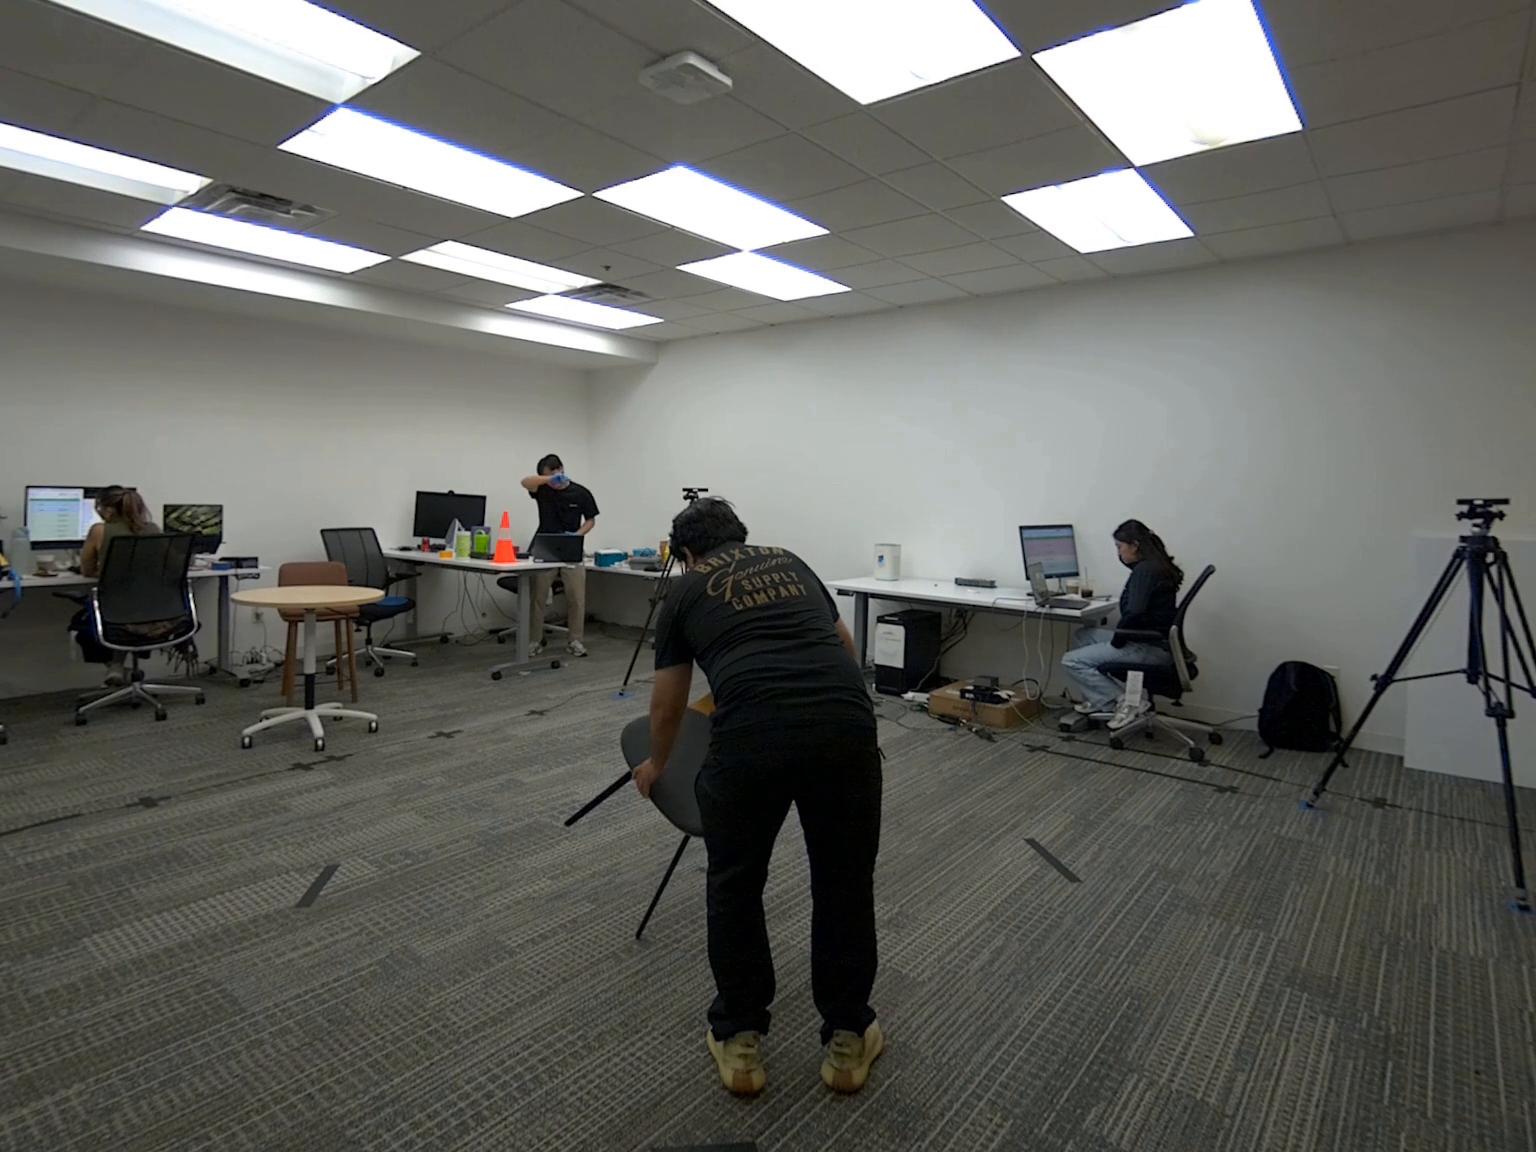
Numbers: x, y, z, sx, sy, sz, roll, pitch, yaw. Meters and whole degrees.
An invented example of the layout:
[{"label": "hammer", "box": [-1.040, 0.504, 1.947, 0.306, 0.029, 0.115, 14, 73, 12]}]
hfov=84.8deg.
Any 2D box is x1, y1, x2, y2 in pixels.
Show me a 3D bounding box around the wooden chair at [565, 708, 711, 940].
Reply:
[{"label": "wooden chair", "box": [-0.218, 0.630, 2.706, 0.496, 0.873, 0.506, 46, 24, 29]}]
